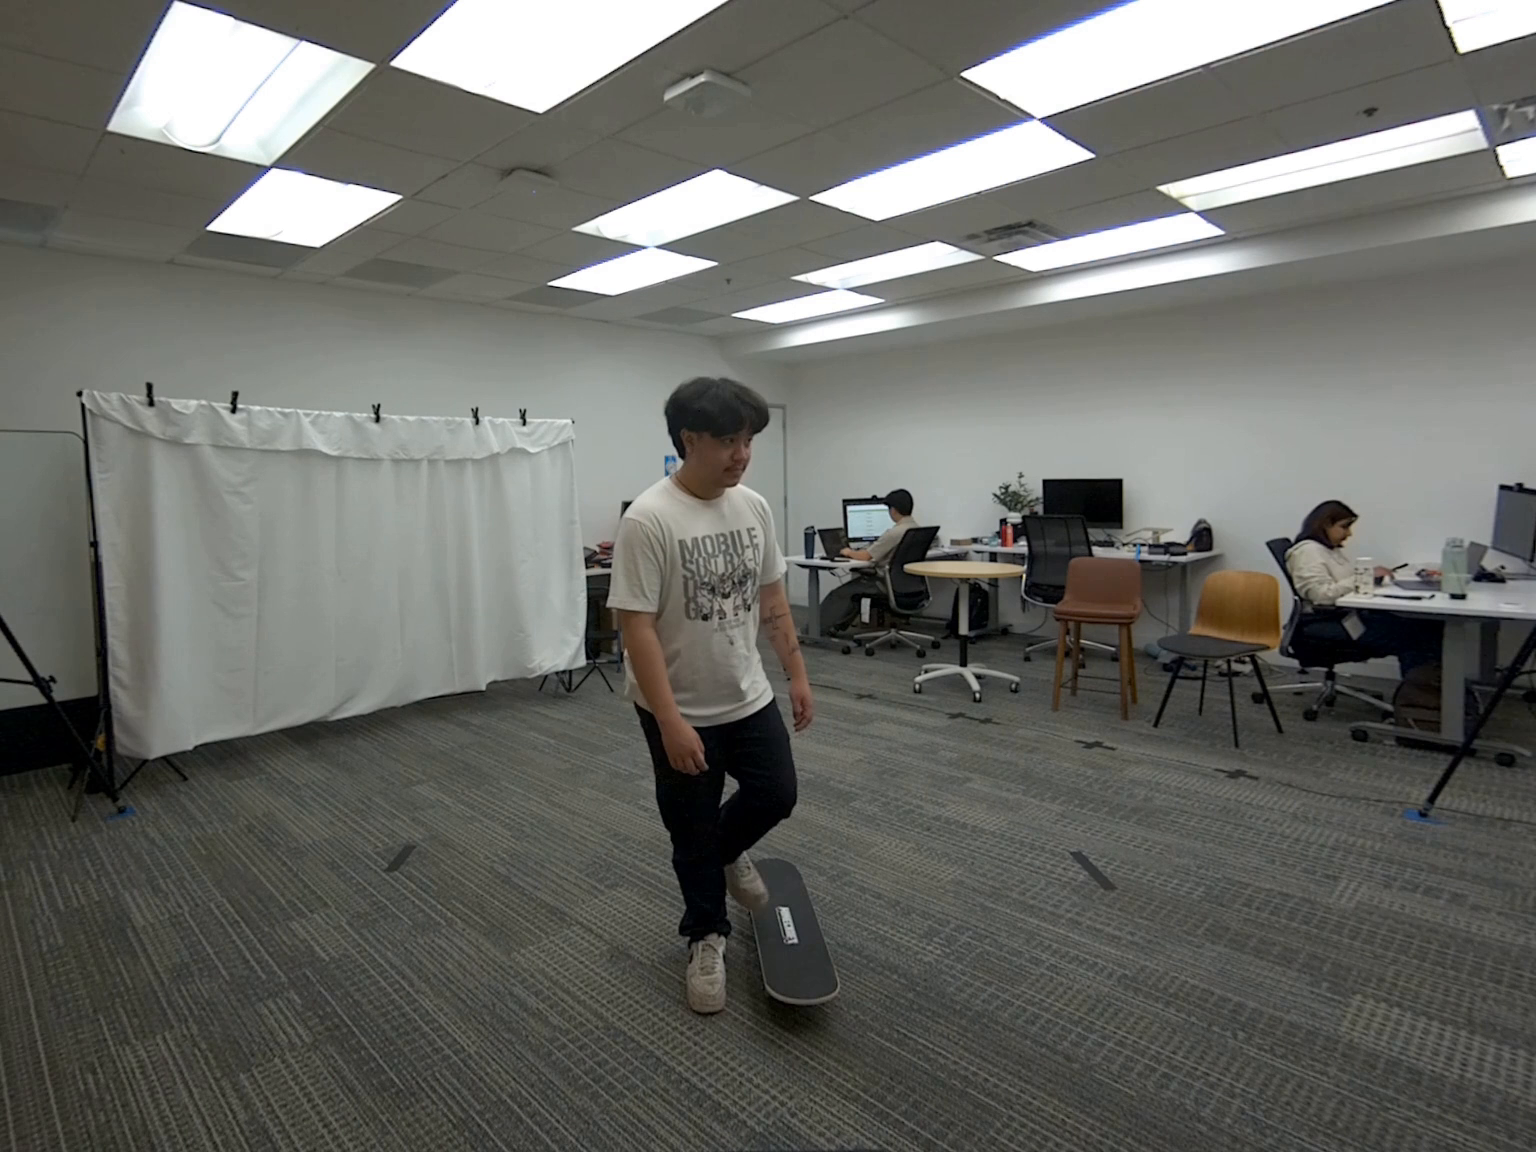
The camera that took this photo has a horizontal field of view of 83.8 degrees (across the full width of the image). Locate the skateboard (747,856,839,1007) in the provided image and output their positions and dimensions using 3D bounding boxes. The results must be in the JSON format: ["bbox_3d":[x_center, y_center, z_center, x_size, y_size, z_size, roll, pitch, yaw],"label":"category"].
[{"bbox_3d":[0.059,1.050,2.514,0.192,0.110,0.793,-1,6,-6],"label":"skateboard"}]
